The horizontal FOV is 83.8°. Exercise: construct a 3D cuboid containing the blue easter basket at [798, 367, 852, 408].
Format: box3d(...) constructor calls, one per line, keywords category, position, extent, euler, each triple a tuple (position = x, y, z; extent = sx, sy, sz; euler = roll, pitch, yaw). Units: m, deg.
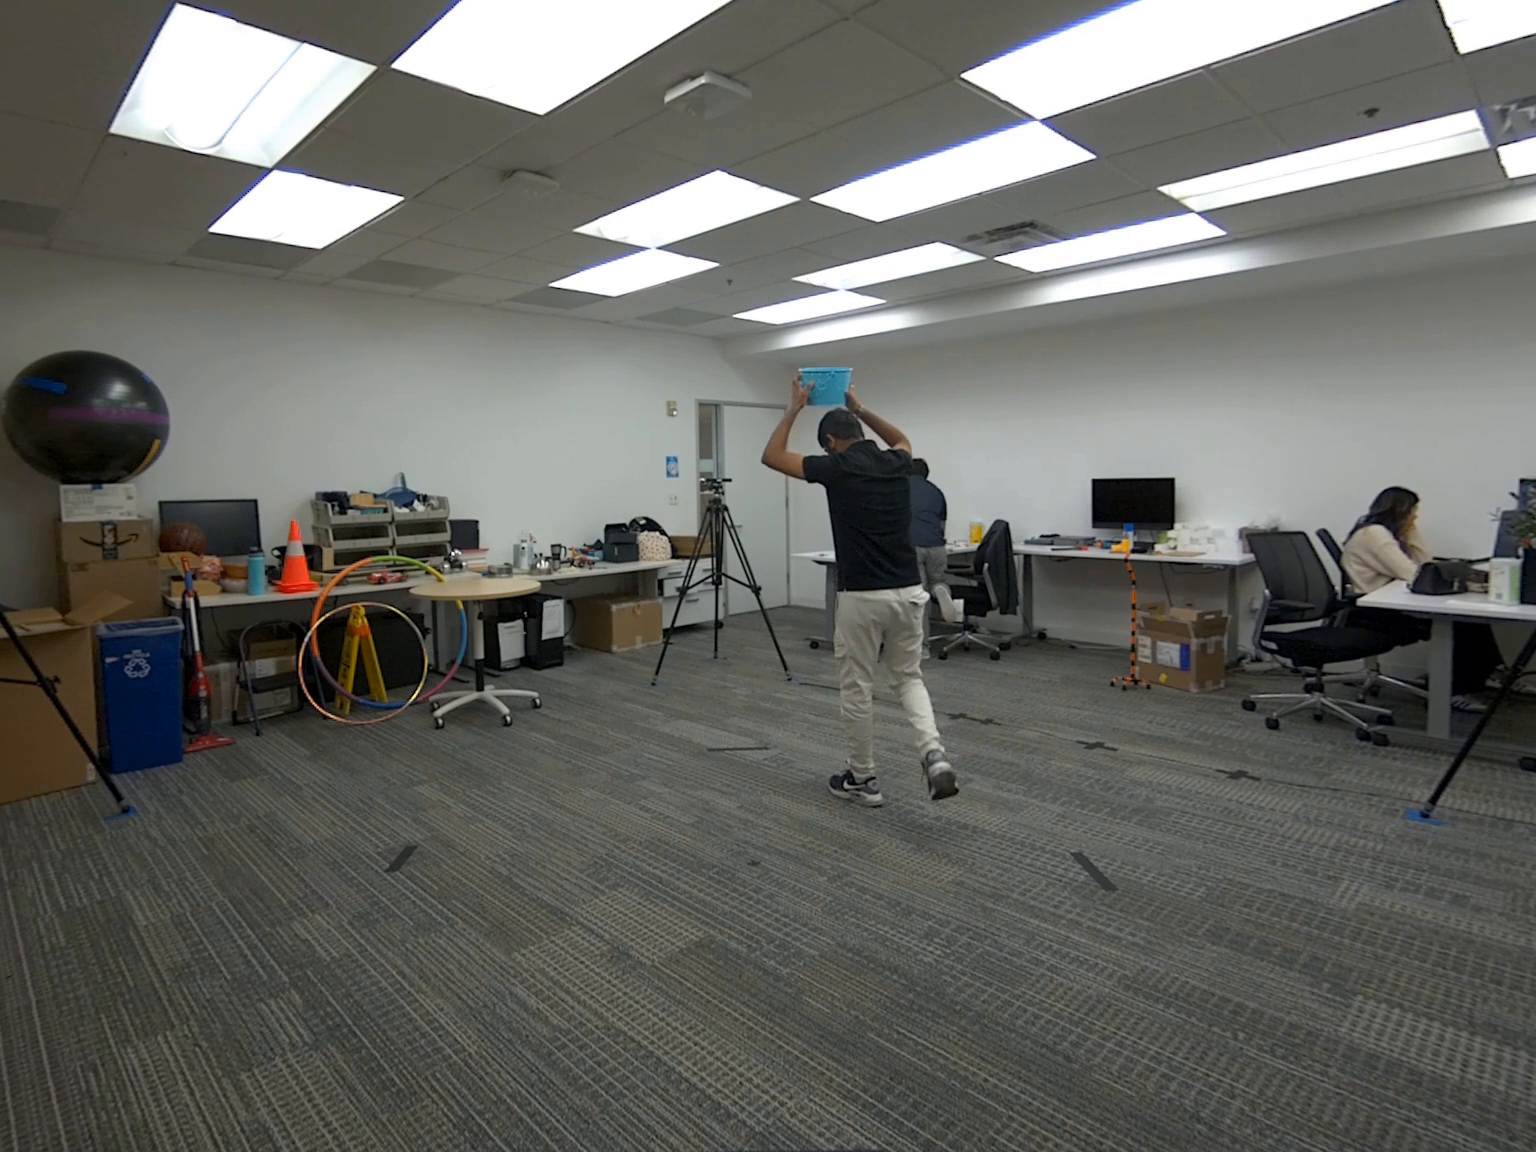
box3d(category="blue easter basket", position=(0.271, -0.835, 3.754), extent=(0.243, 0.154, 0.247), euler=(-3, 14, -1))
